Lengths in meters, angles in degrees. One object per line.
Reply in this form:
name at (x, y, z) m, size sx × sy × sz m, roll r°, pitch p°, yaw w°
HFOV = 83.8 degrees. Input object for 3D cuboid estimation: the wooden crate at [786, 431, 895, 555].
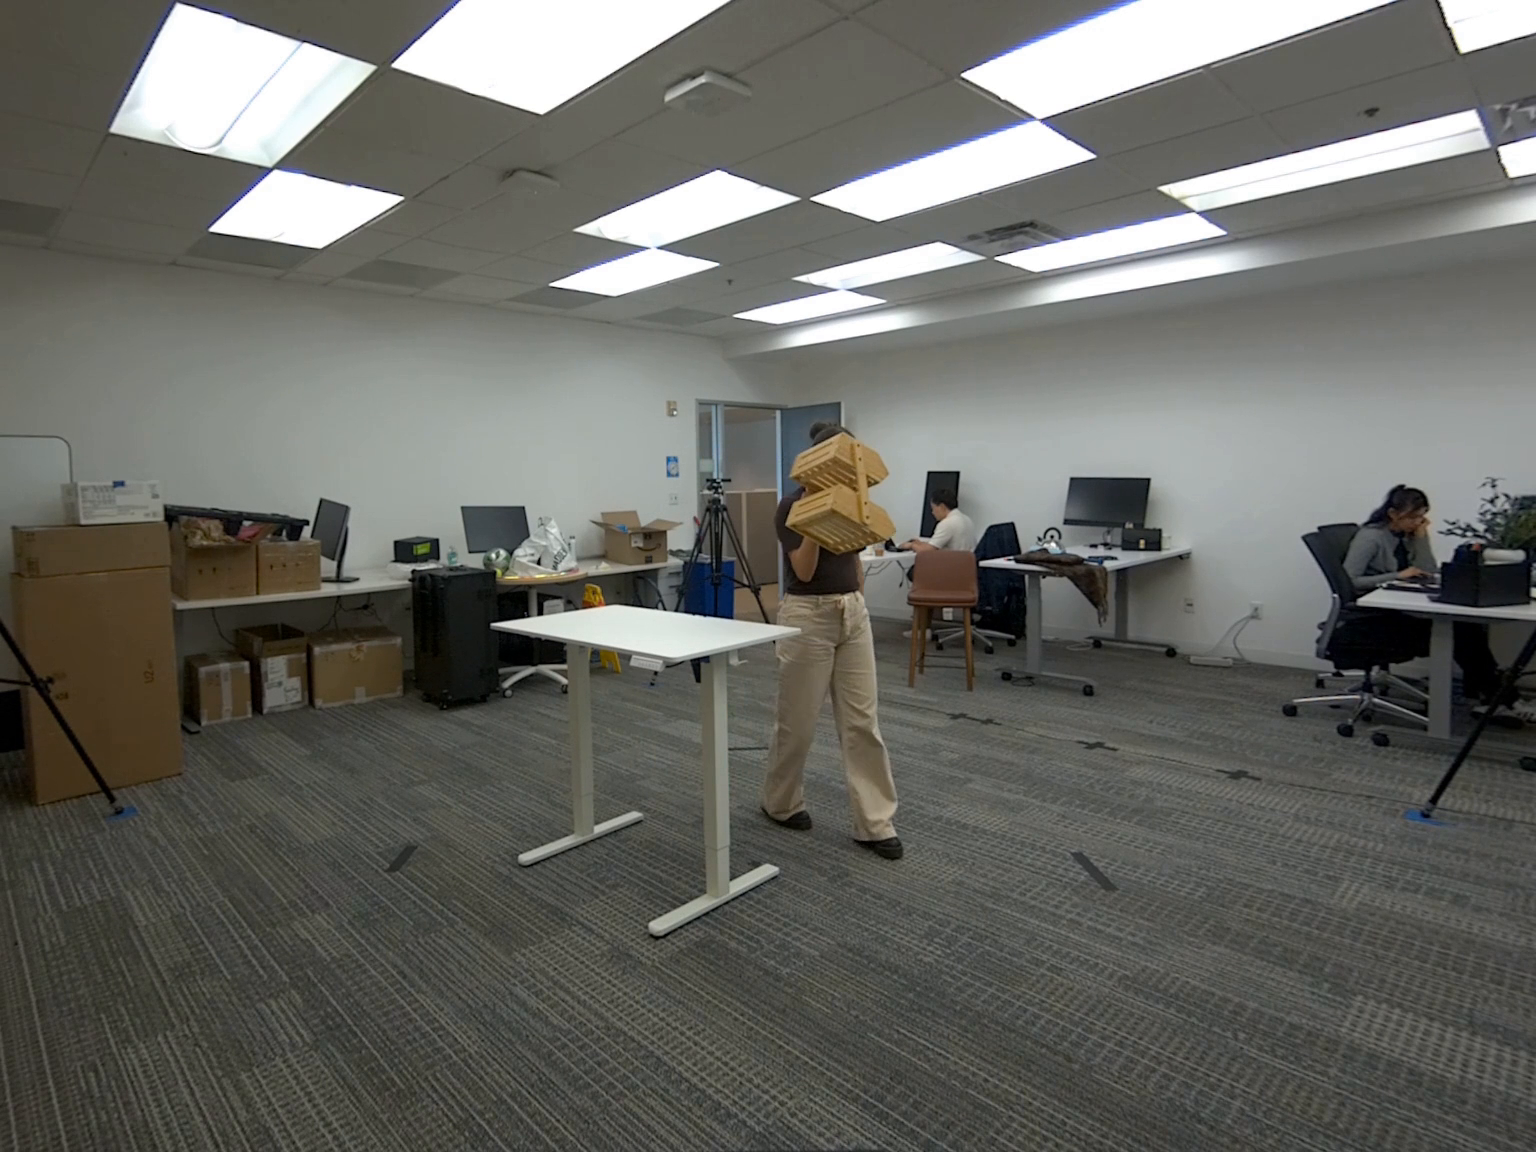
wooden crate at (0.255, -0.273, 2.913) m, size 0.295 × 0.276 × 0.329 m, roll 28°, pitch -21°, yaw -21°
